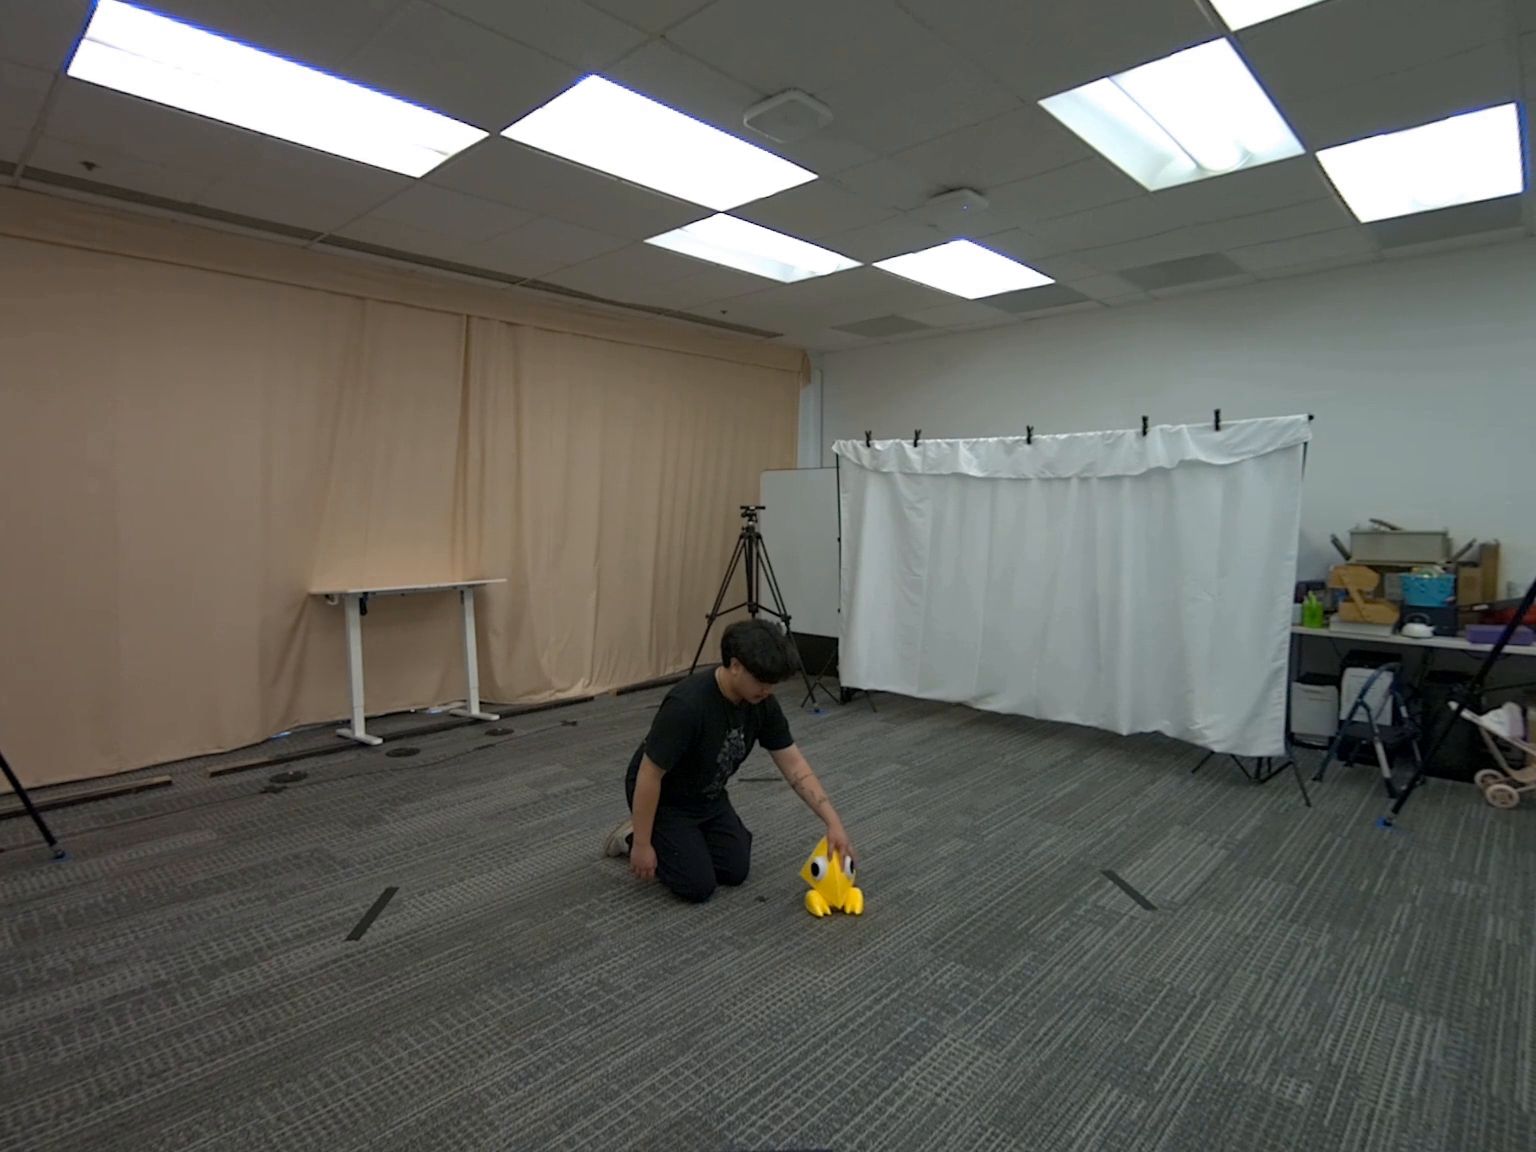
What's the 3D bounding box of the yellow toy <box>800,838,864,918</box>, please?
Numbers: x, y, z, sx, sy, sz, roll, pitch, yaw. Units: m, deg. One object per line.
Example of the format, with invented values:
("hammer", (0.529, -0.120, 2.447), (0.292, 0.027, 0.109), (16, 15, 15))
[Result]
("yellow toy", (0.228, 1.036, 2.926), (0.204, 0.231, 0.193), (-1, -1, -3))
